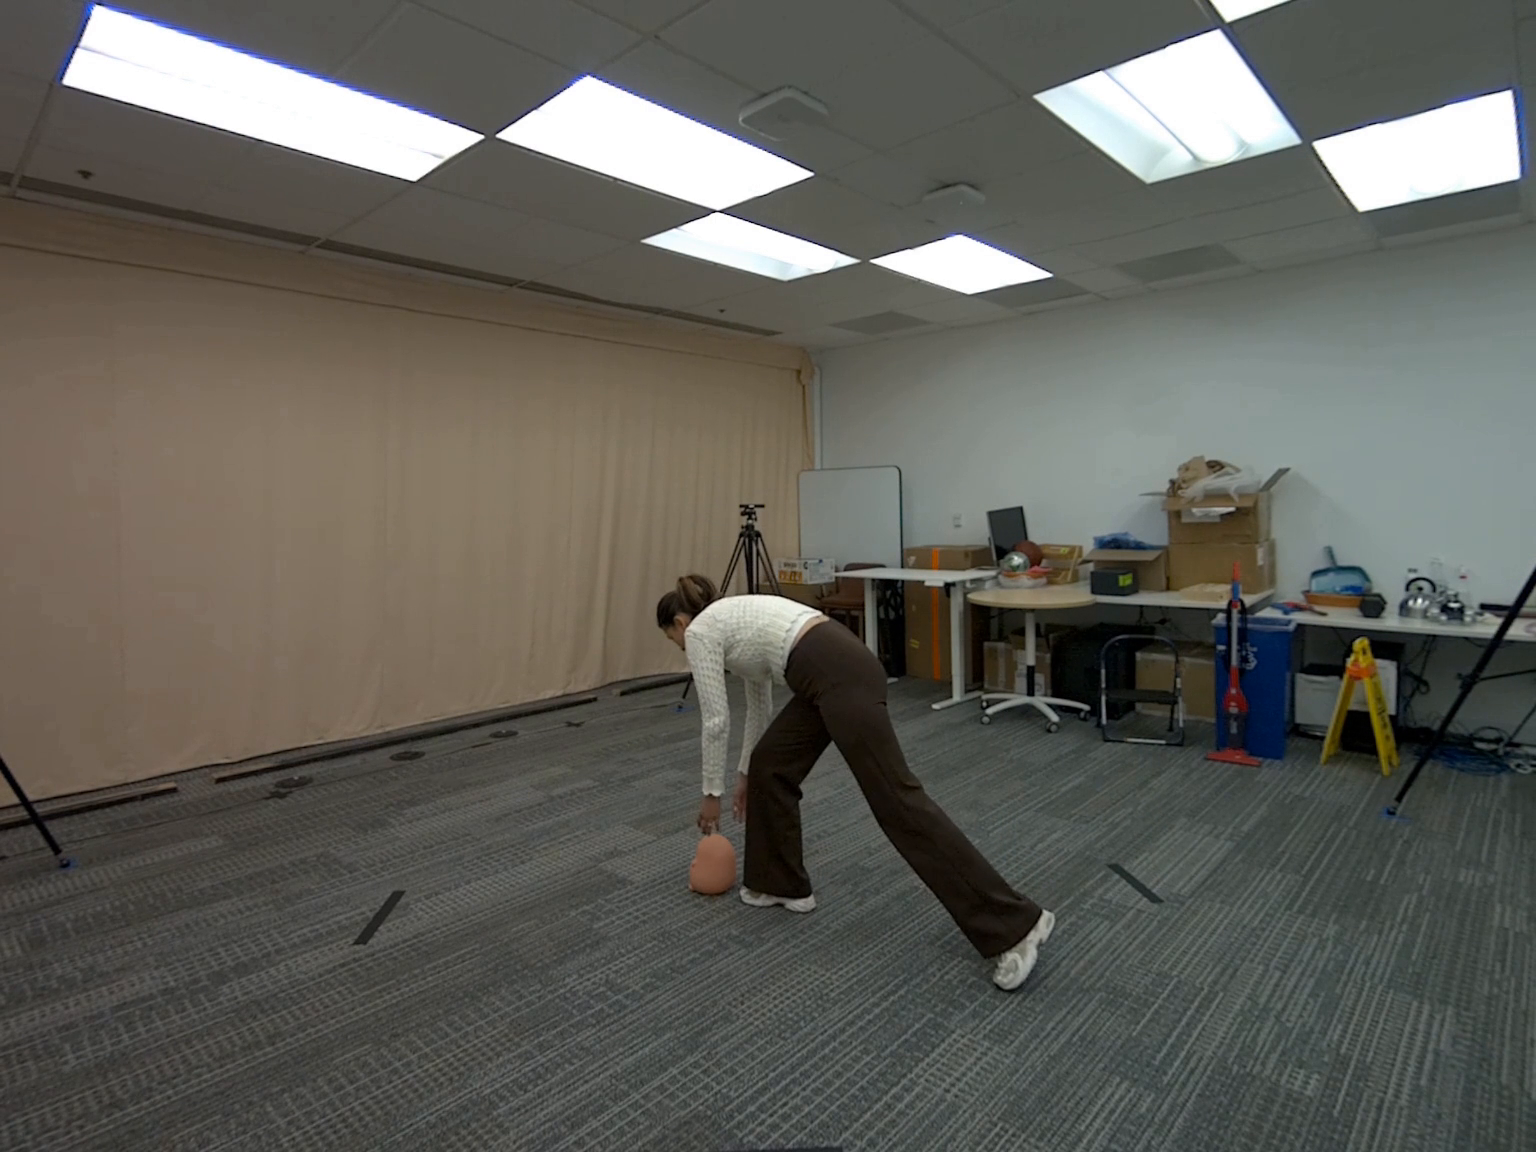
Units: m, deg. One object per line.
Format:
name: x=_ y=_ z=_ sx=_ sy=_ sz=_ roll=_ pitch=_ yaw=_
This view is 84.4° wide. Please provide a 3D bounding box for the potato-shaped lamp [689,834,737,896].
potato-shaped lamp: x=-0.201 y=1.040 z=3.049 sx=0.176 sy=0.197 sz=0.161 roll=2 pitch=4 yaw=24
